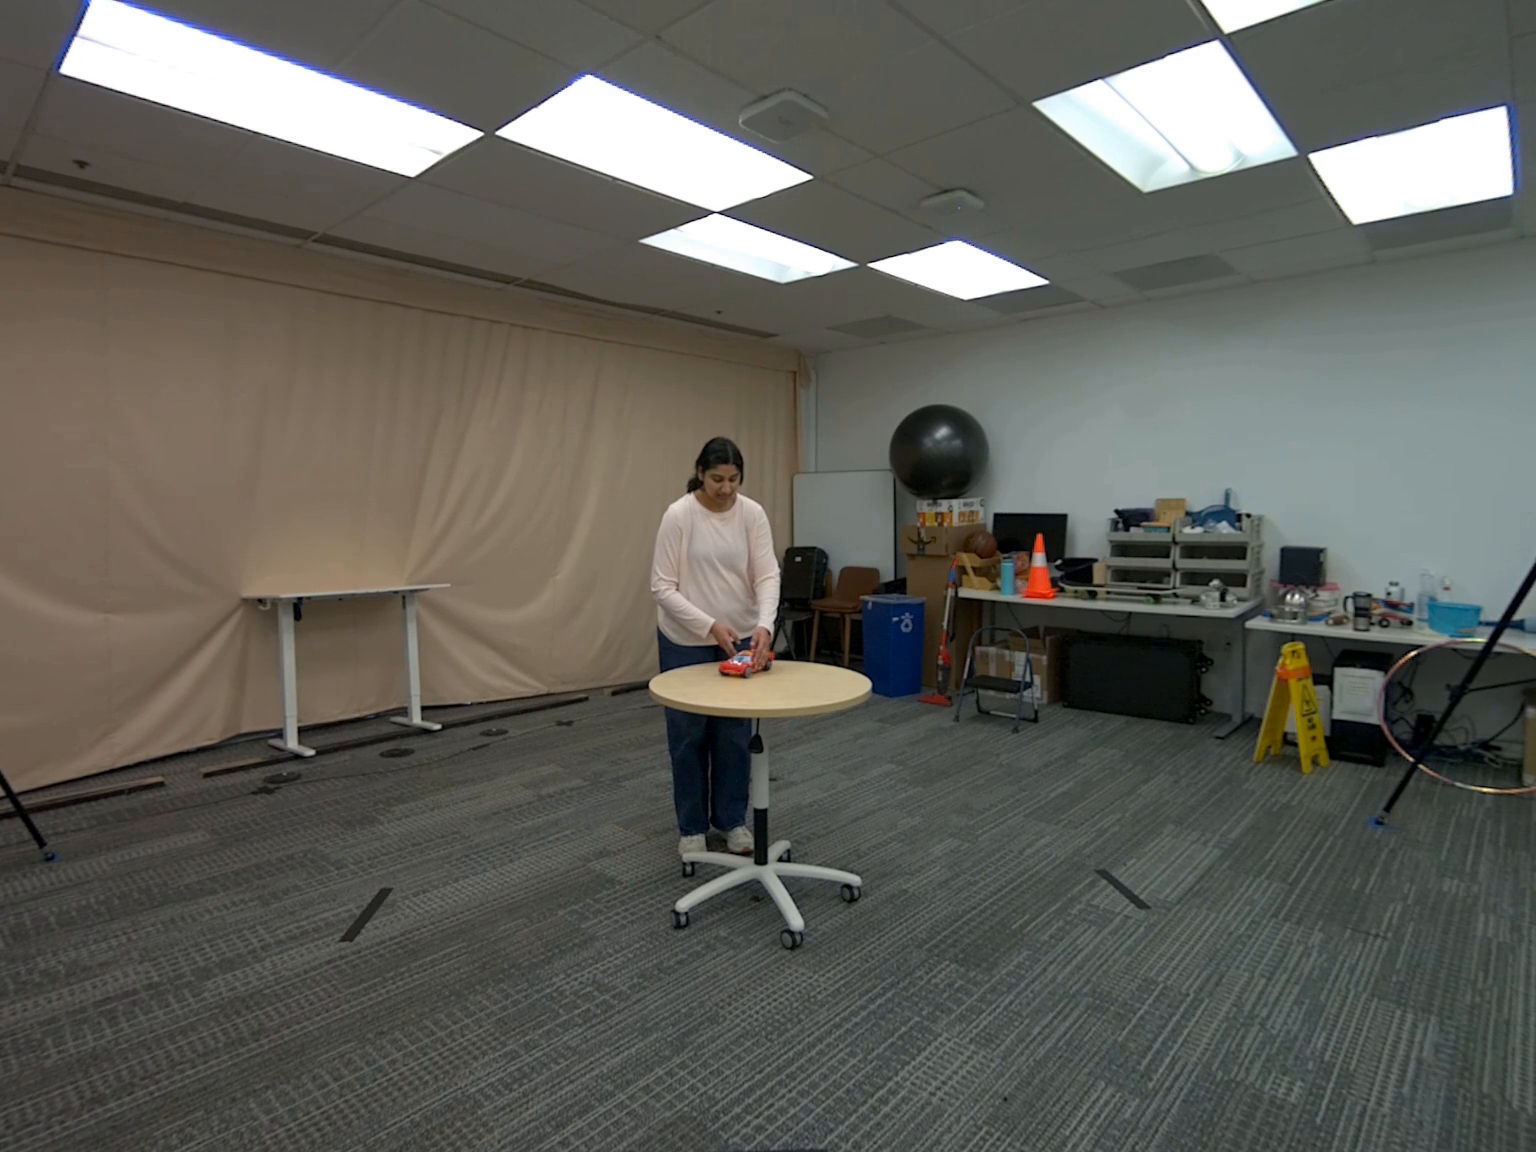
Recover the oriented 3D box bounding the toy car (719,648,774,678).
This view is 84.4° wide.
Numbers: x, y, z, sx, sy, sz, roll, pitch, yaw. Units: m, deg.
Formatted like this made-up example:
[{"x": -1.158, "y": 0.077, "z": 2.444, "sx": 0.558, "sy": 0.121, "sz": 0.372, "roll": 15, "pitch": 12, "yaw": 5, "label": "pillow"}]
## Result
[{"x": -0.065, "y": 0.319, "z": 3.083, "sx": 0.134, "sy": 0.082, "sz": 0.249, "roll": 2, "pitch": 16, "yaw": 31, "label": "toy car"}]
